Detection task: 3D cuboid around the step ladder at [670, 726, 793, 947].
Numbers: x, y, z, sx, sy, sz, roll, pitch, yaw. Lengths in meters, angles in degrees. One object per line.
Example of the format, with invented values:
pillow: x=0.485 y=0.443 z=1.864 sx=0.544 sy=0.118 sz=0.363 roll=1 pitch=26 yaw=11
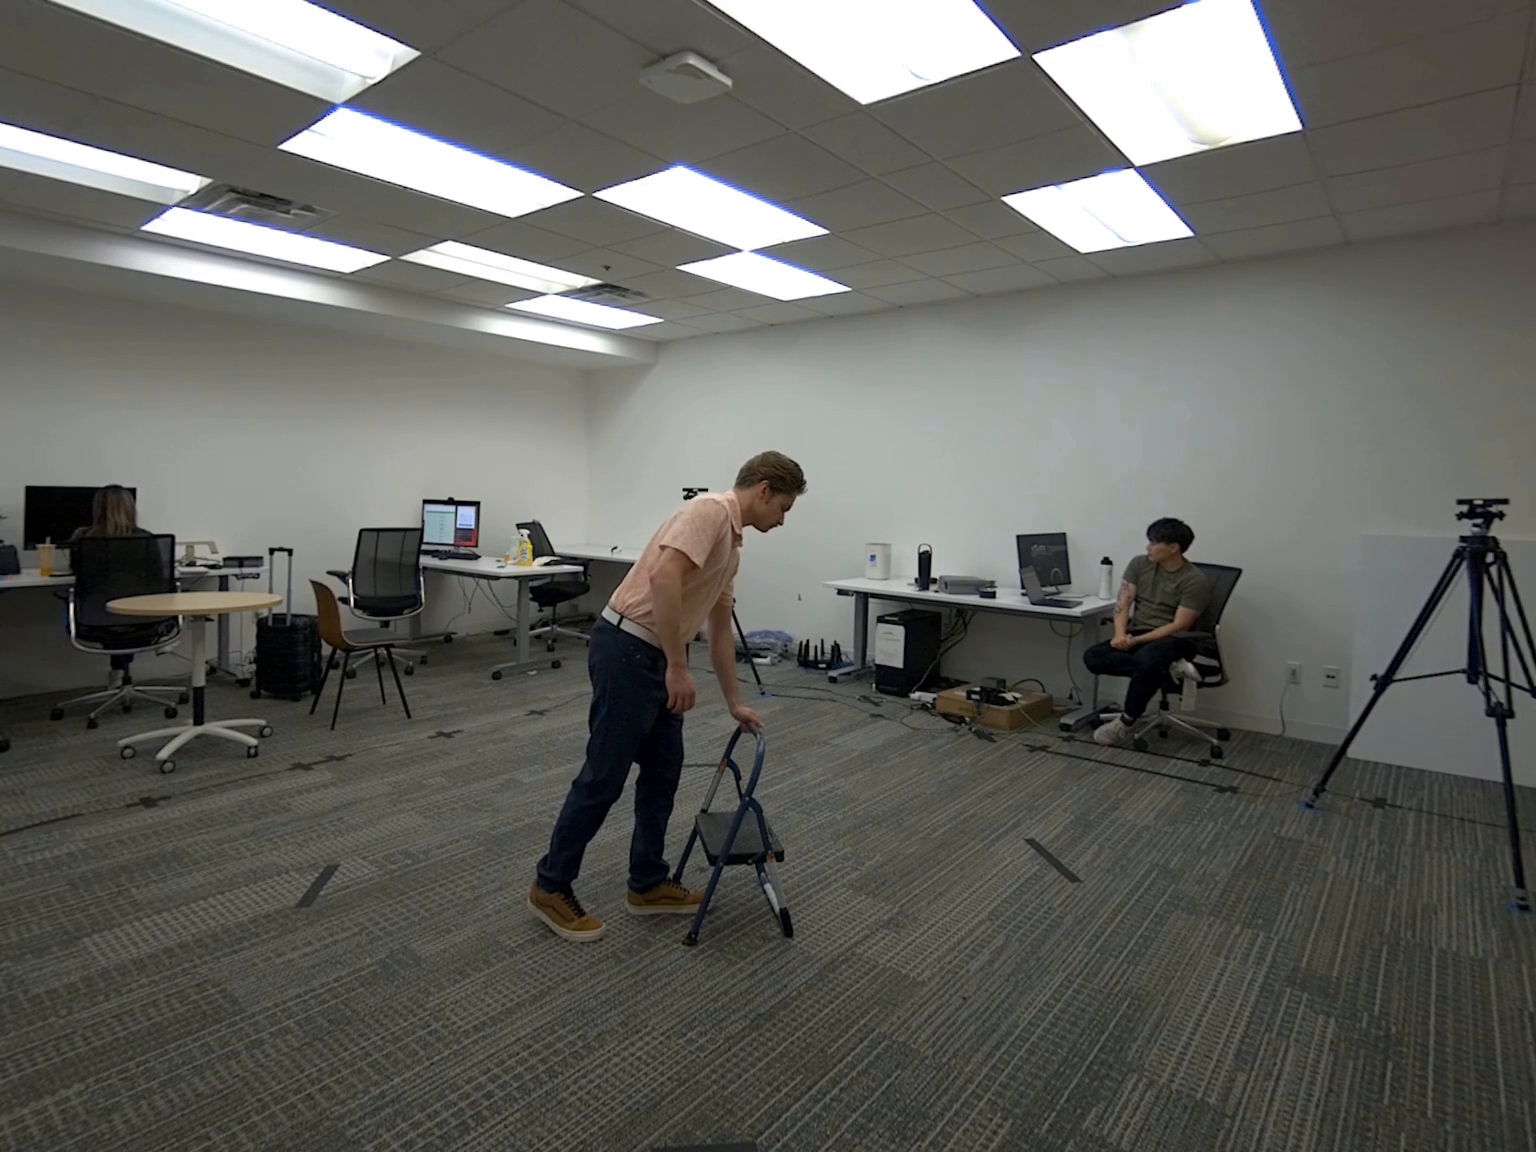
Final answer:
step ladder: x=-0.131 y=0.801 z=2.801 sx=0.345 sy=0.604 sz=0.438 roll=0 pitch=4 yaw=-13
